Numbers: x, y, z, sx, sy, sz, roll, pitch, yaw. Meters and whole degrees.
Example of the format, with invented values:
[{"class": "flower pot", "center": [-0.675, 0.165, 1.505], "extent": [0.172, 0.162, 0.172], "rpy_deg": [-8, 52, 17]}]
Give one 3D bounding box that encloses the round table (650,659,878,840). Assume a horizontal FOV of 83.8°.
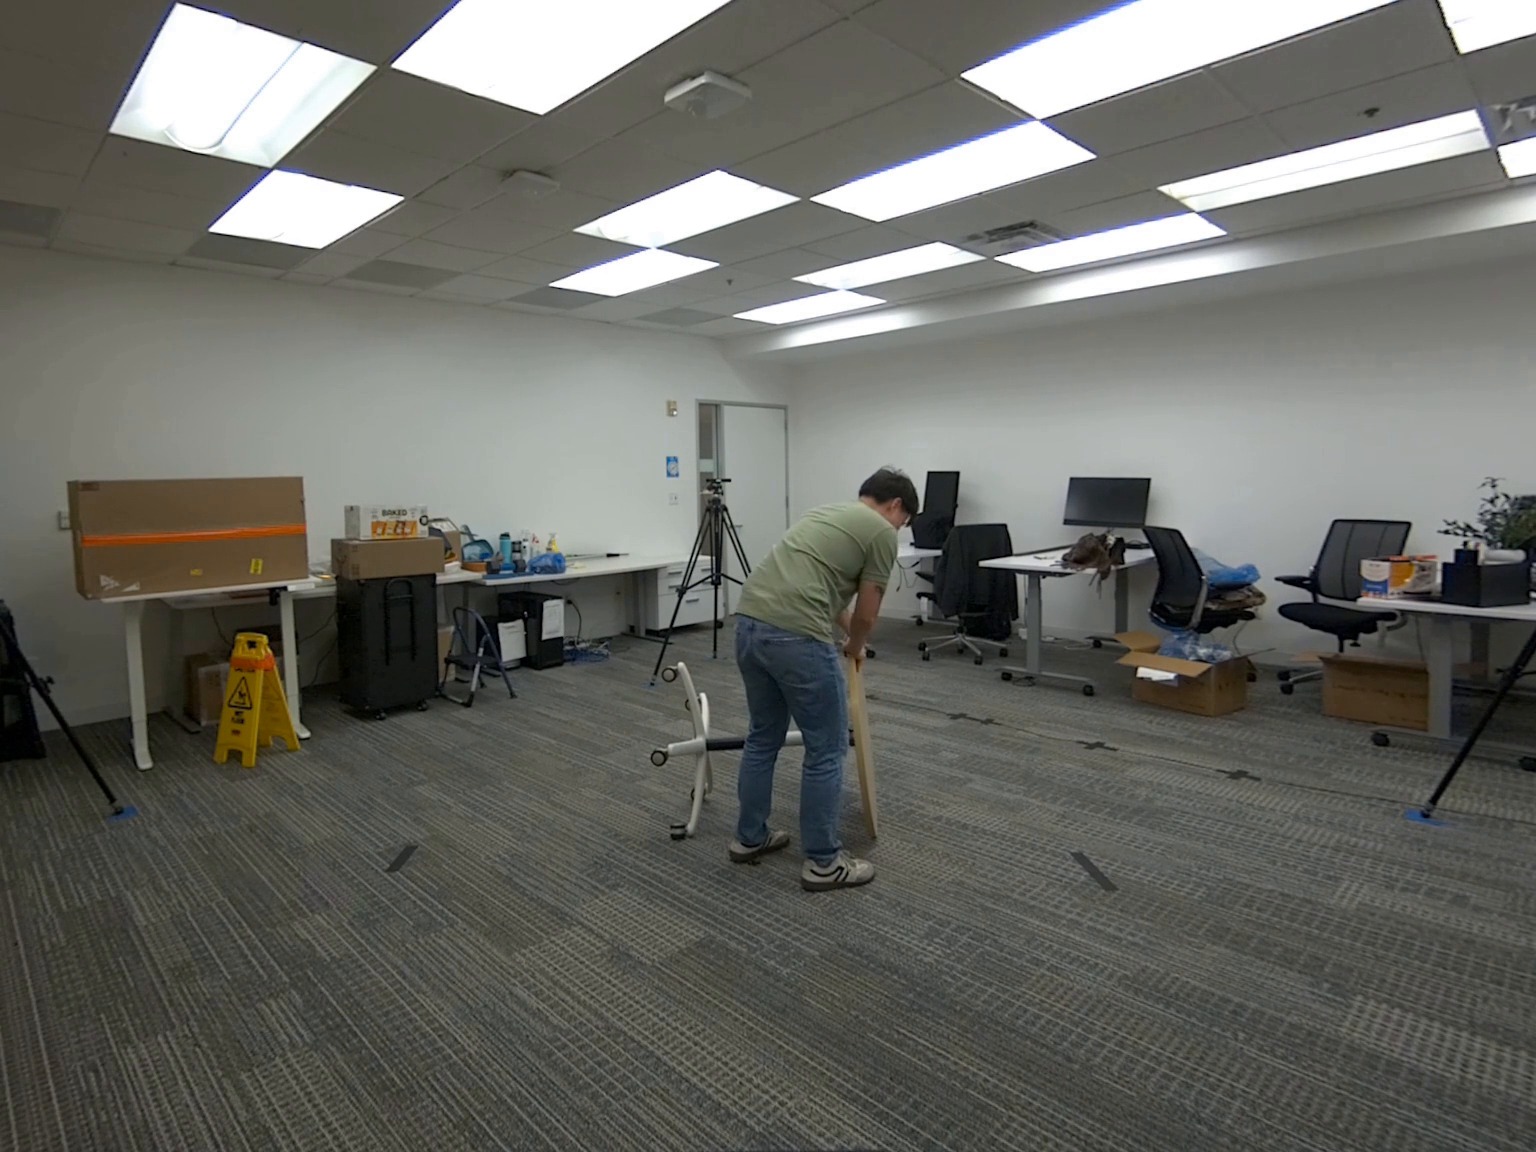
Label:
[{"class": "round table", "center": [-0.002, 0.670, 3.450], "extent": [0.801, 0.762, 0.760], "rpy_deg": [-6, 4, 9]}]
